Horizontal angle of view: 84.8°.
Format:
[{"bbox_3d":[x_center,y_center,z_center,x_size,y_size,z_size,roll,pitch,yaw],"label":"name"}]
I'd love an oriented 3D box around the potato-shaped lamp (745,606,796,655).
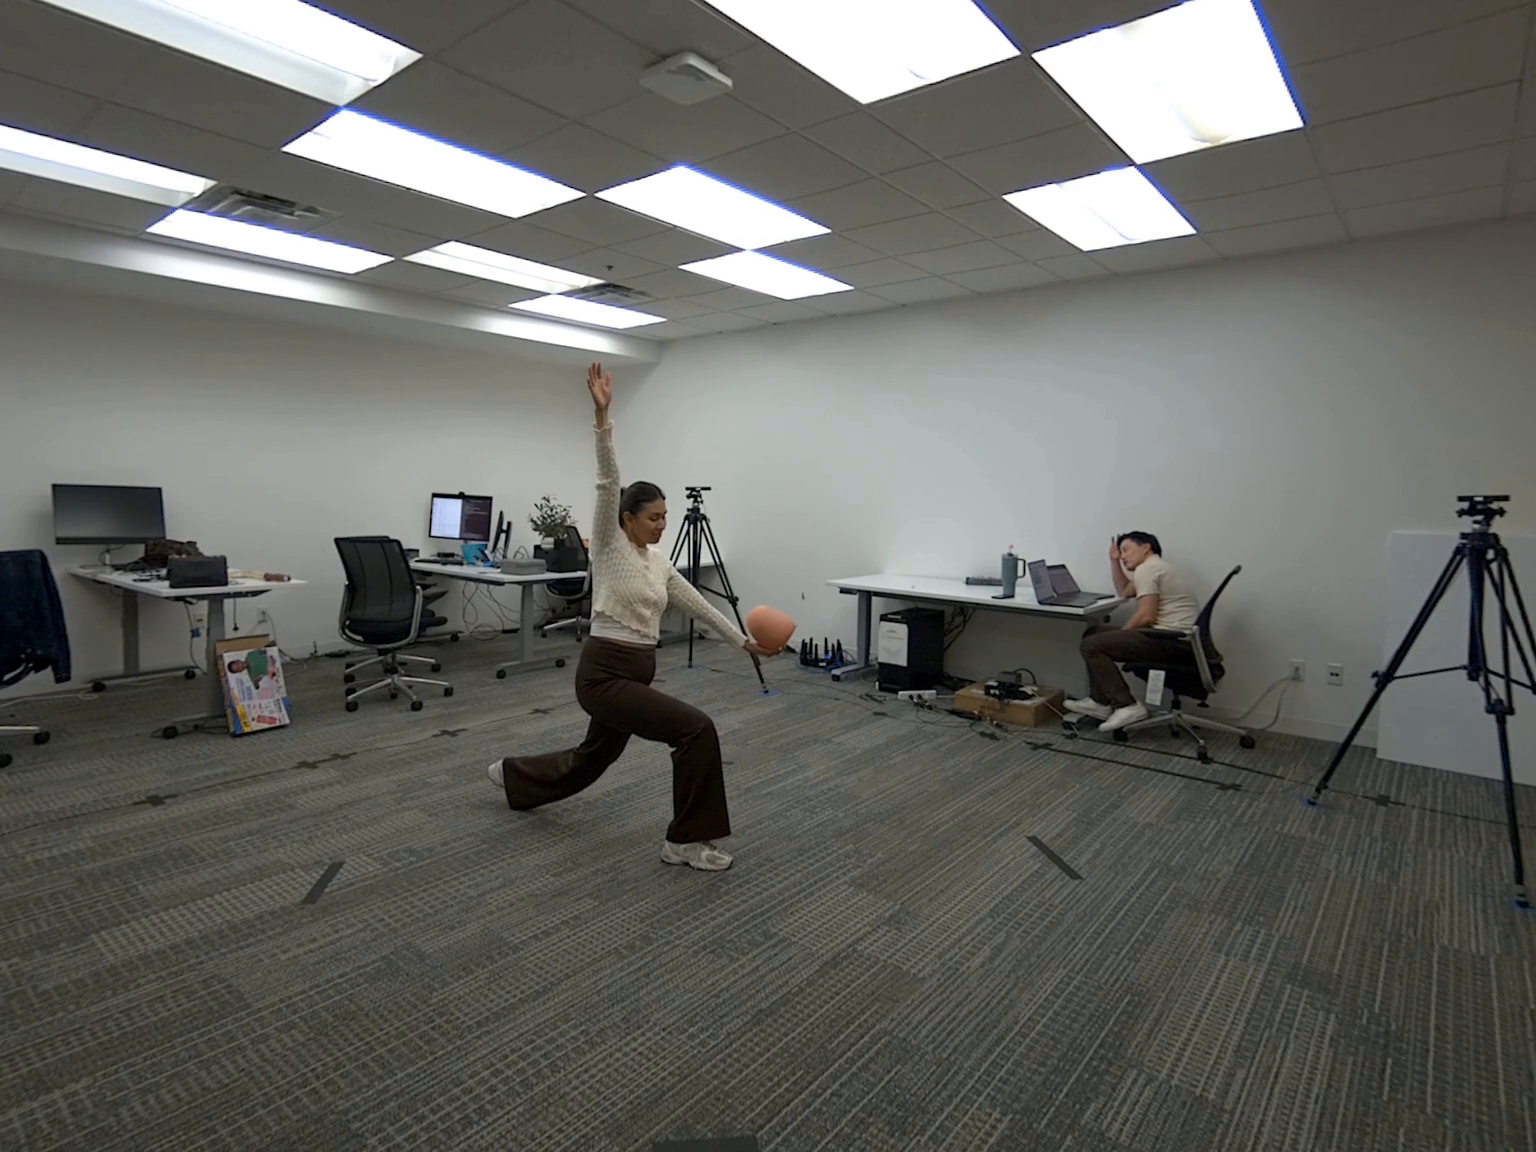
[{"bbox_3d":[-0.010,0.209,3.573,0.199,0.164,0.171,39,23,1],"label":"potato-shaped lamp"}]
